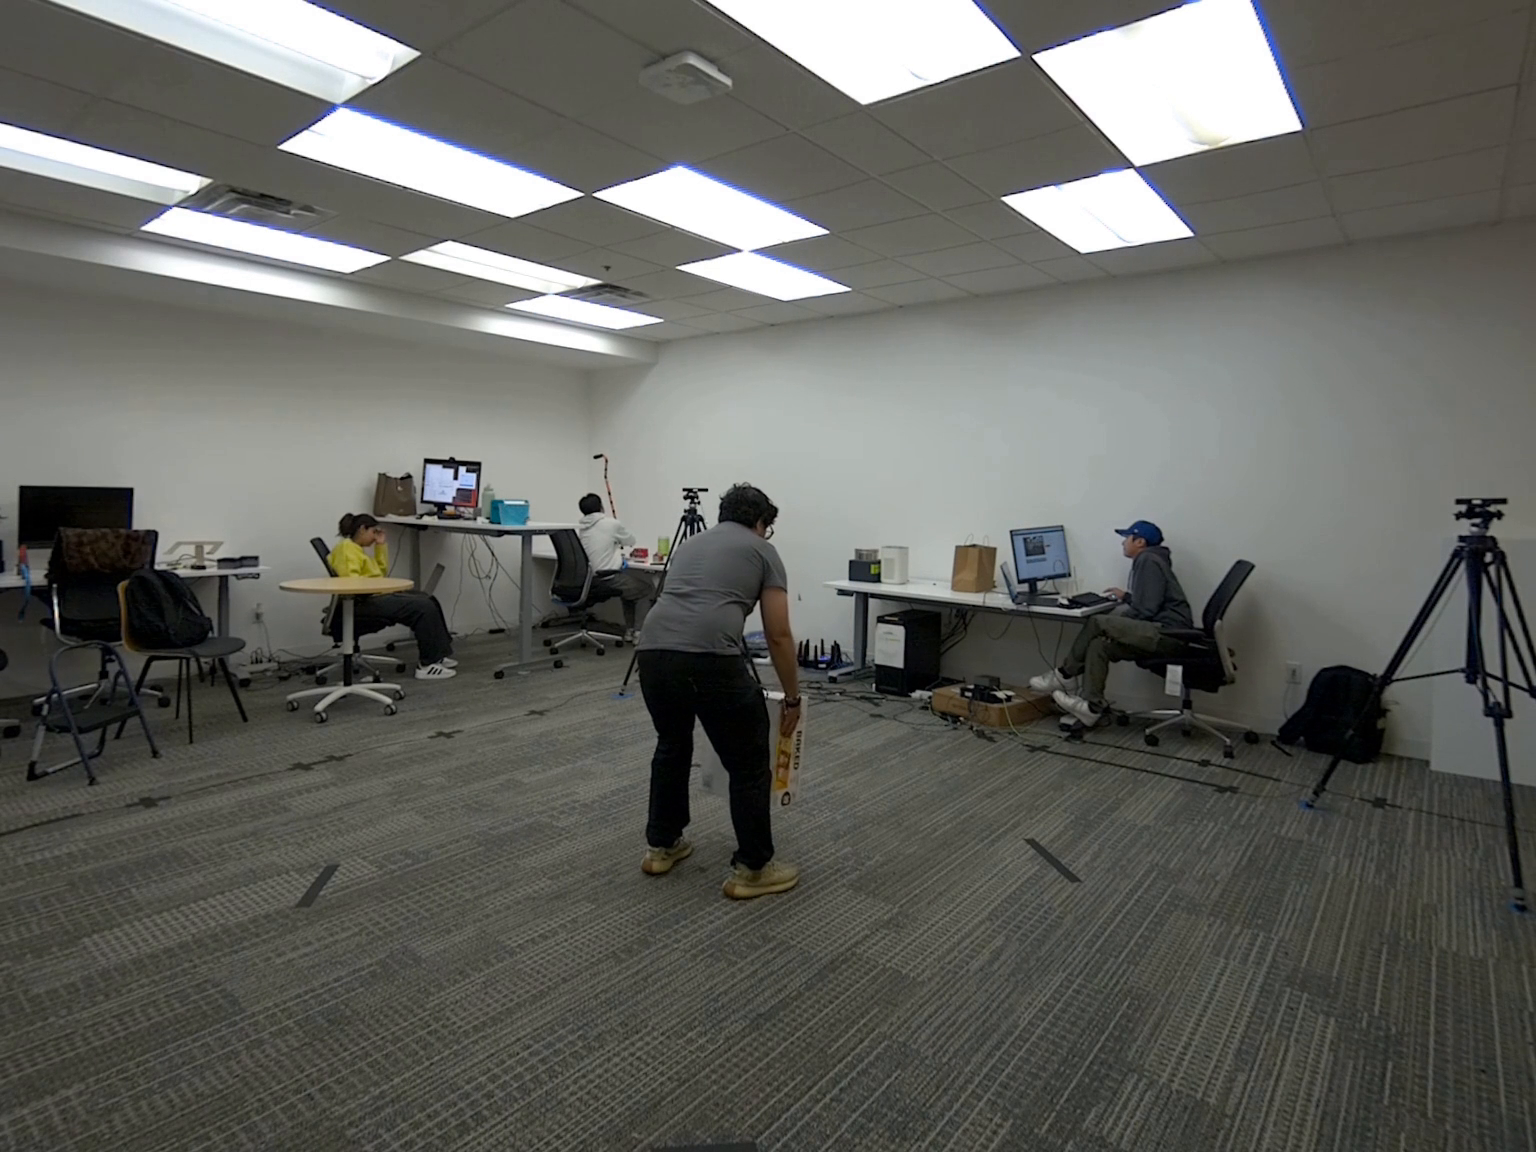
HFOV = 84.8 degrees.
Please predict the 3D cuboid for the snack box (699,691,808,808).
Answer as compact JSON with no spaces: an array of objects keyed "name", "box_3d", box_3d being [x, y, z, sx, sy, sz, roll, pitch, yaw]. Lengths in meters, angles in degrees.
[{"name":"snack box","box_3d":[-0.067,0.647,3.296,0.351,0.406,0.199,3,-4,35]}]
